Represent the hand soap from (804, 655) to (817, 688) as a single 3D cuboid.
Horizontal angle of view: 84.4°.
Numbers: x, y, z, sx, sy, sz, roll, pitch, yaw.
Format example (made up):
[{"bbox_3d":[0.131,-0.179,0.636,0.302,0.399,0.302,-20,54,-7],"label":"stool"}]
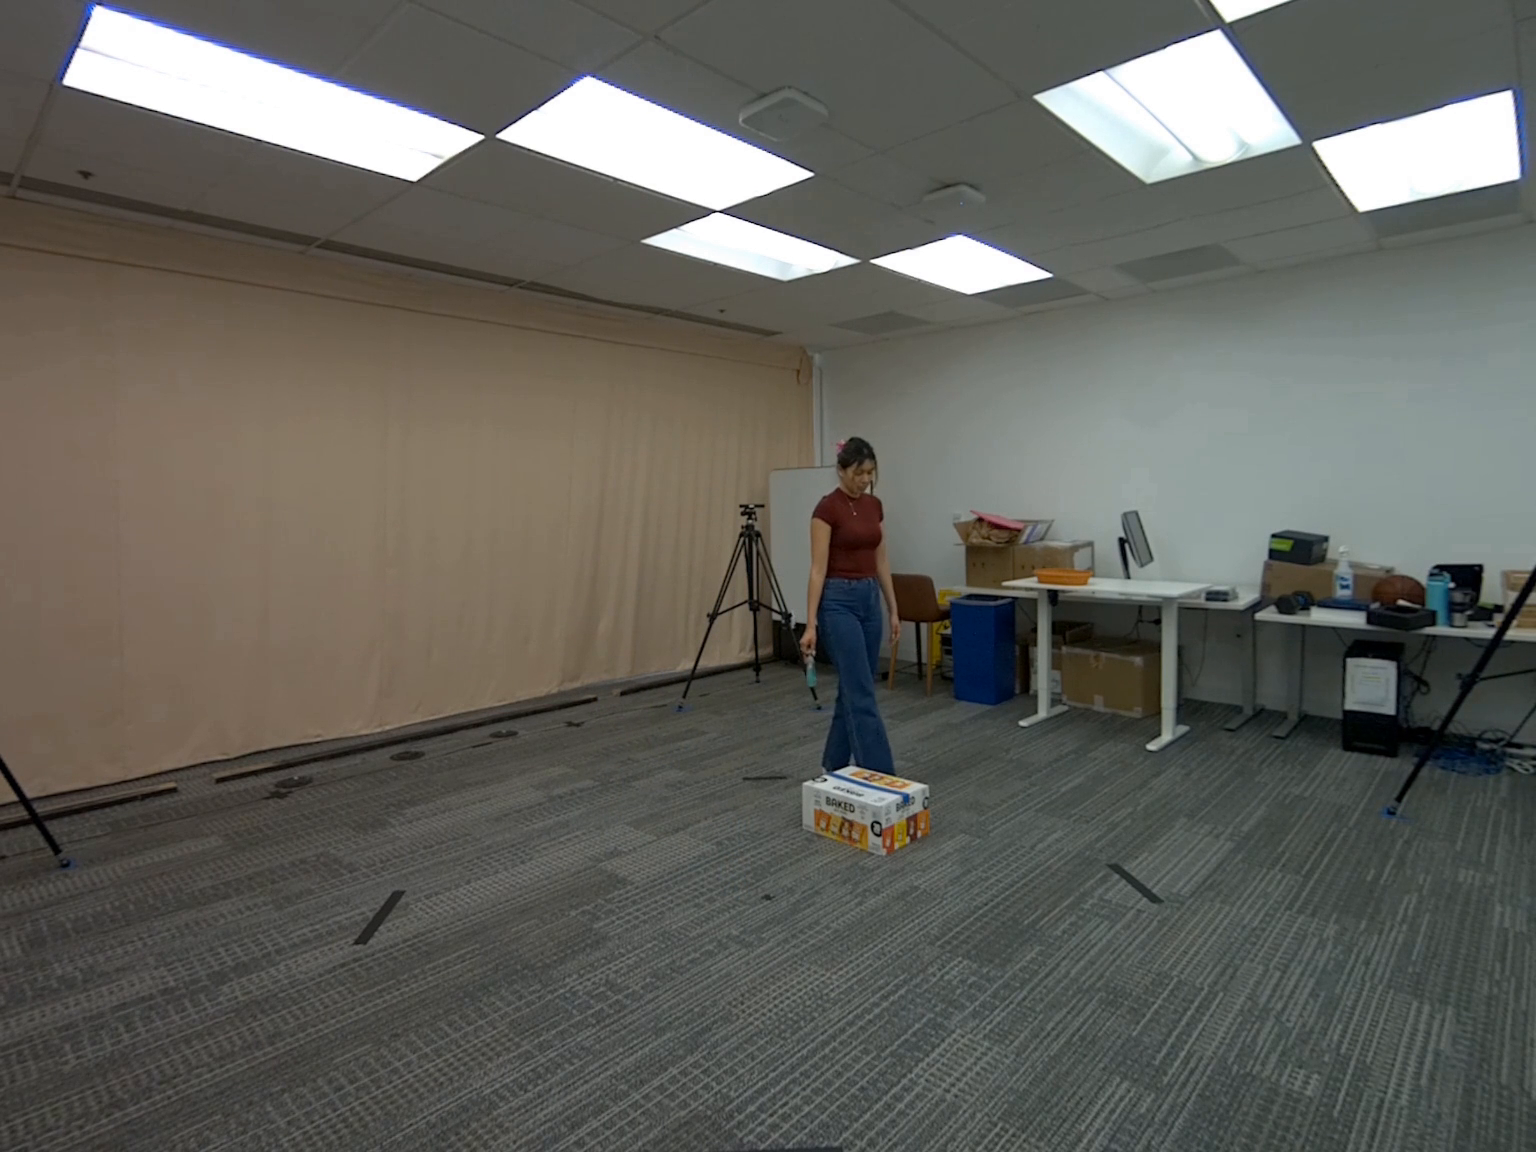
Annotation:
[{"bbox_3d":[0.210,0.424,3.892,0.044,0.168,0.084,-5,3,6],"label":"hand soap"}]
